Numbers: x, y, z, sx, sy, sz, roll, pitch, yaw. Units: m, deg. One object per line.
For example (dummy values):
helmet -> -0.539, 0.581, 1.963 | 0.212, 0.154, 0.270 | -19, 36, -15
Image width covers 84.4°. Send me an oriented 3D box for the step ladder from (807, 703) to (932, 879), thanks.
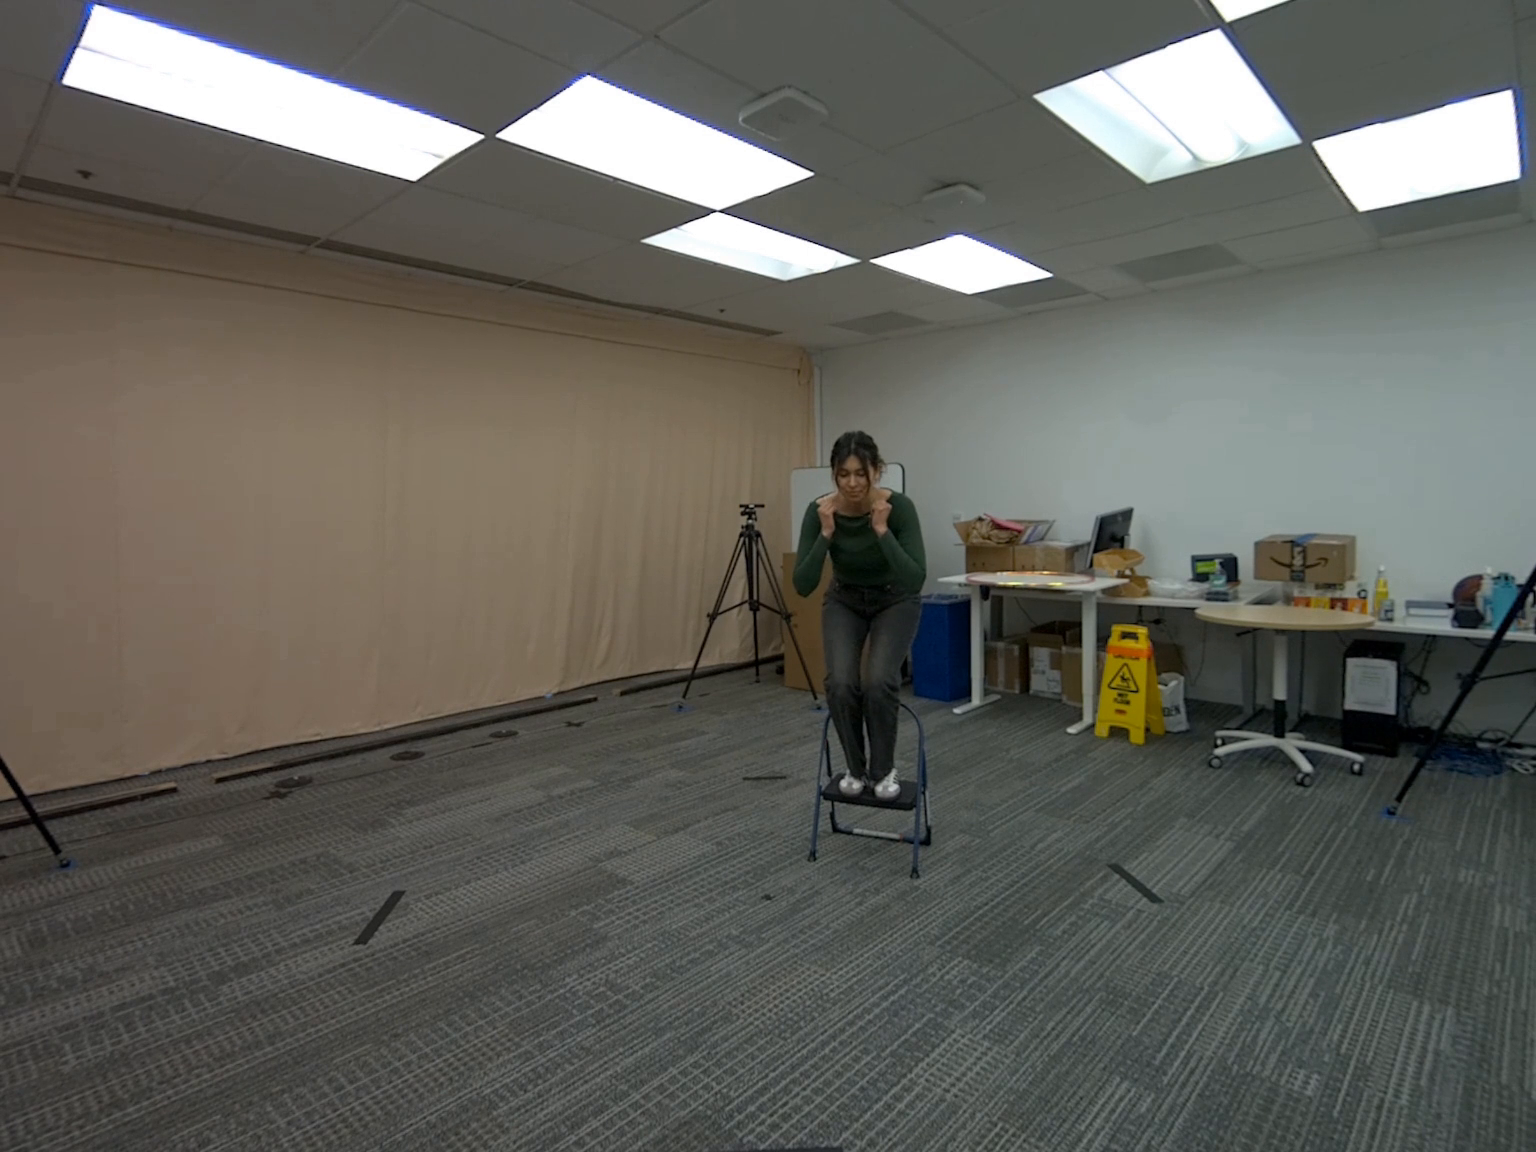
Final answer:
step ladder -> 0.418, 0.800, 3.340 | 0.440, 0.605, 0.342 | 0, 3, 22
